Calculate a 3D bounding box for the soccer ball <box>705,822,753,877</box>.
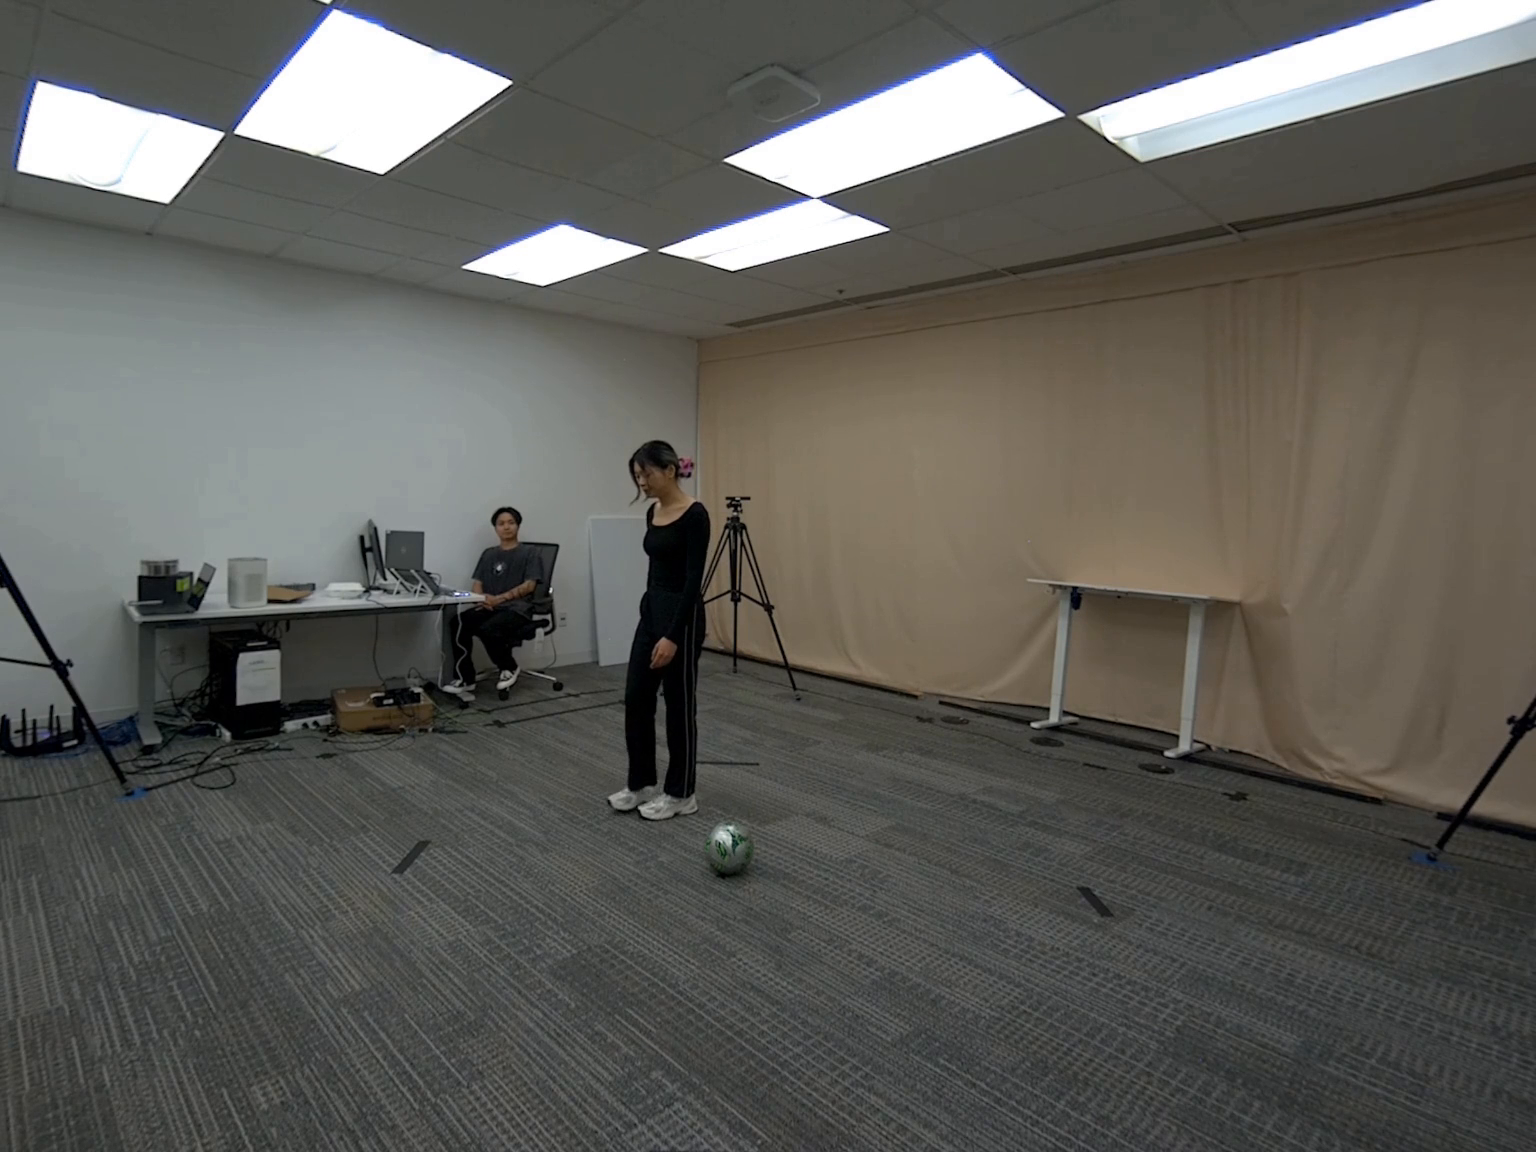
[{"bbox_3d":[-0.151,1.006,3.128,0.187,0.187,0.188,1,4,-1],"label":"soccer ball"}]
